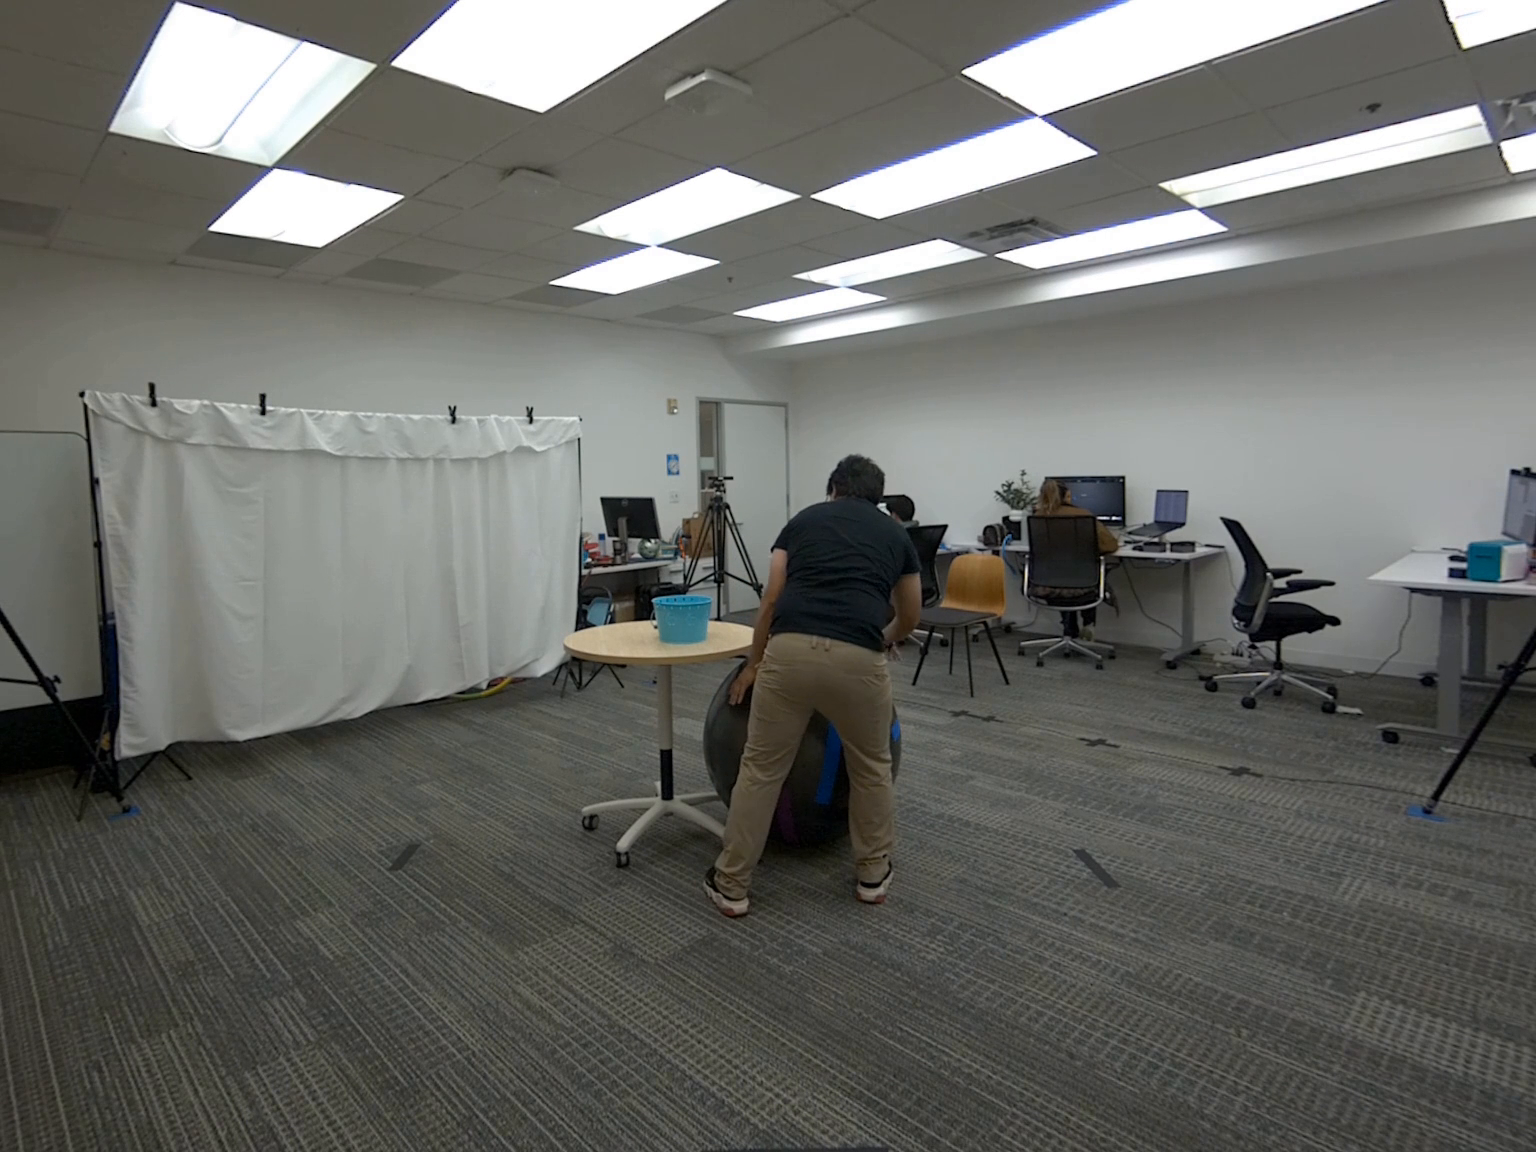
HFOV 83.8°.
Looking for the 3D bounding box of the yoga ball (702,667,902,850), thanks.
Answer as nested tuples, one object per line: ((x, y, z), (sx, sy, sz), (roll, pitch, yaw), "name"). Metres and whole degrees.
((0.143, 0.649, 3.315), (0.757, 0.755, 0.762), (-1, 5, -2), "yoga ball")
